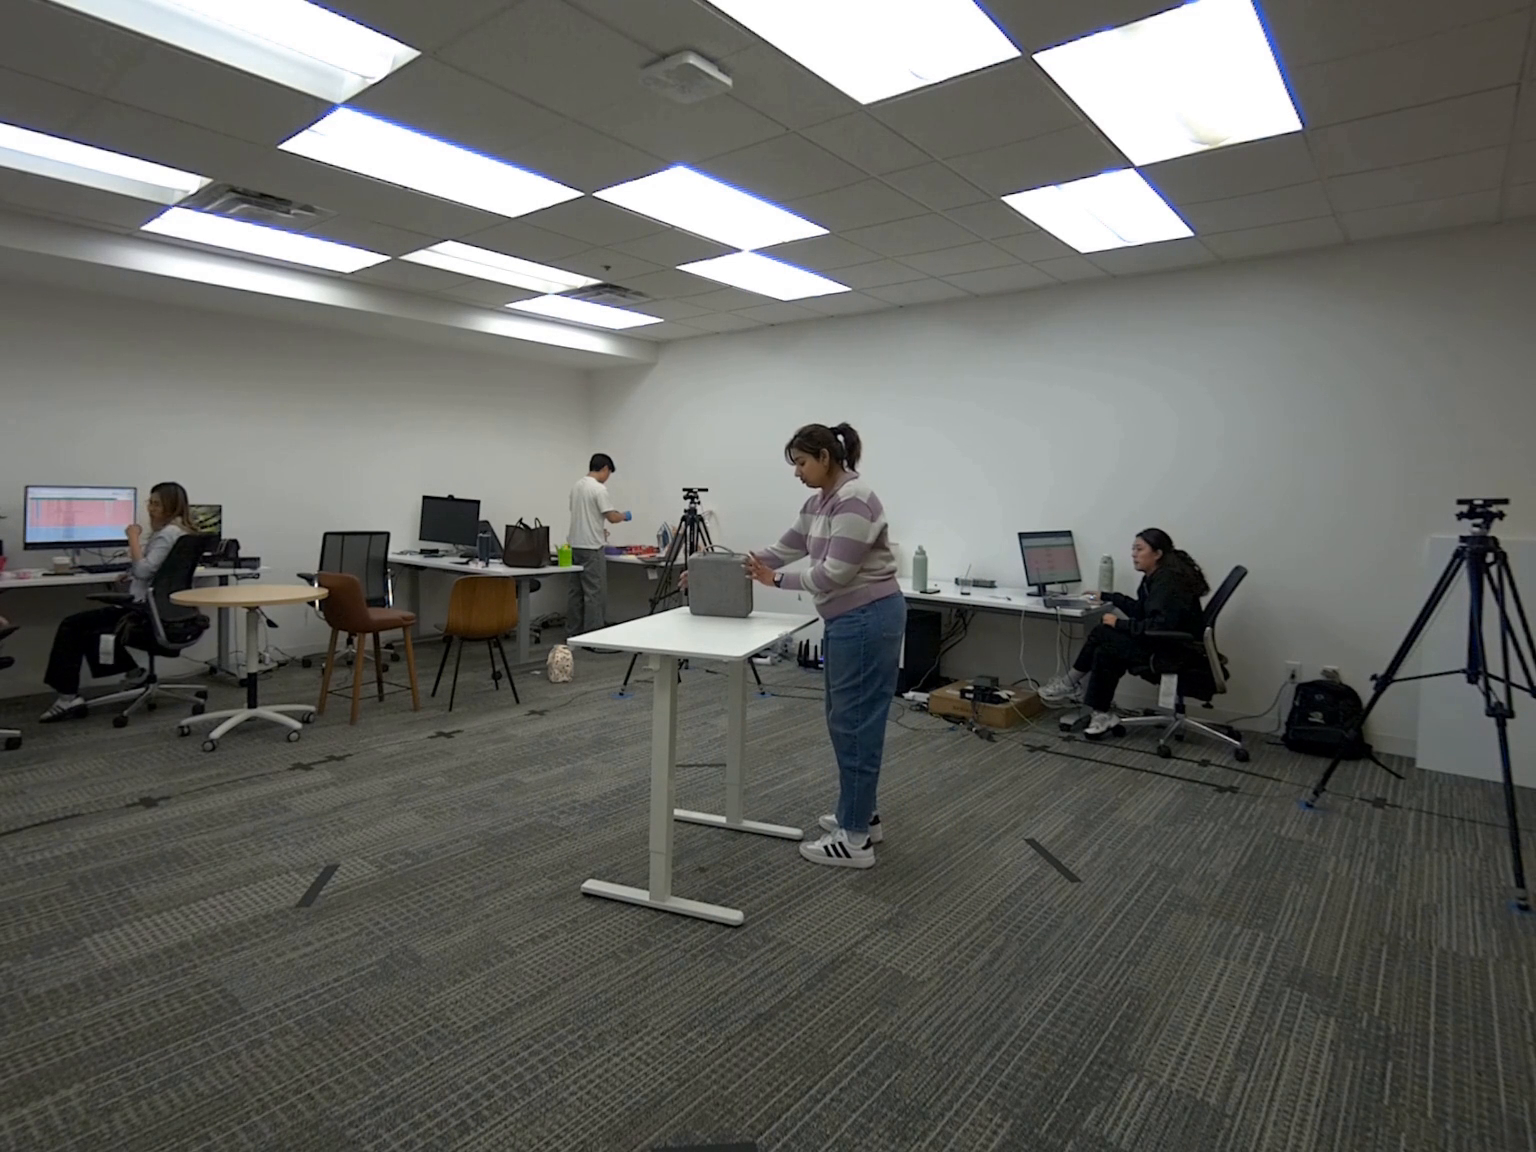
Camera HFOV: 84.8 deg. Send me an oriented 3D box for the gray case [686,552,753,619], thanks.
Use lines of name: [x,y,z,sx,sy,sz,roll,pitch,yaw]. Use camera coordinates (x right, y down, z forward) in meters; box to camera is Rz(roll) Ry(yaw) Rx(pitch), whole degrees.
gray case: [-0.202,0.030,3.414,0.260,0.257,0.104,2,15,12]
